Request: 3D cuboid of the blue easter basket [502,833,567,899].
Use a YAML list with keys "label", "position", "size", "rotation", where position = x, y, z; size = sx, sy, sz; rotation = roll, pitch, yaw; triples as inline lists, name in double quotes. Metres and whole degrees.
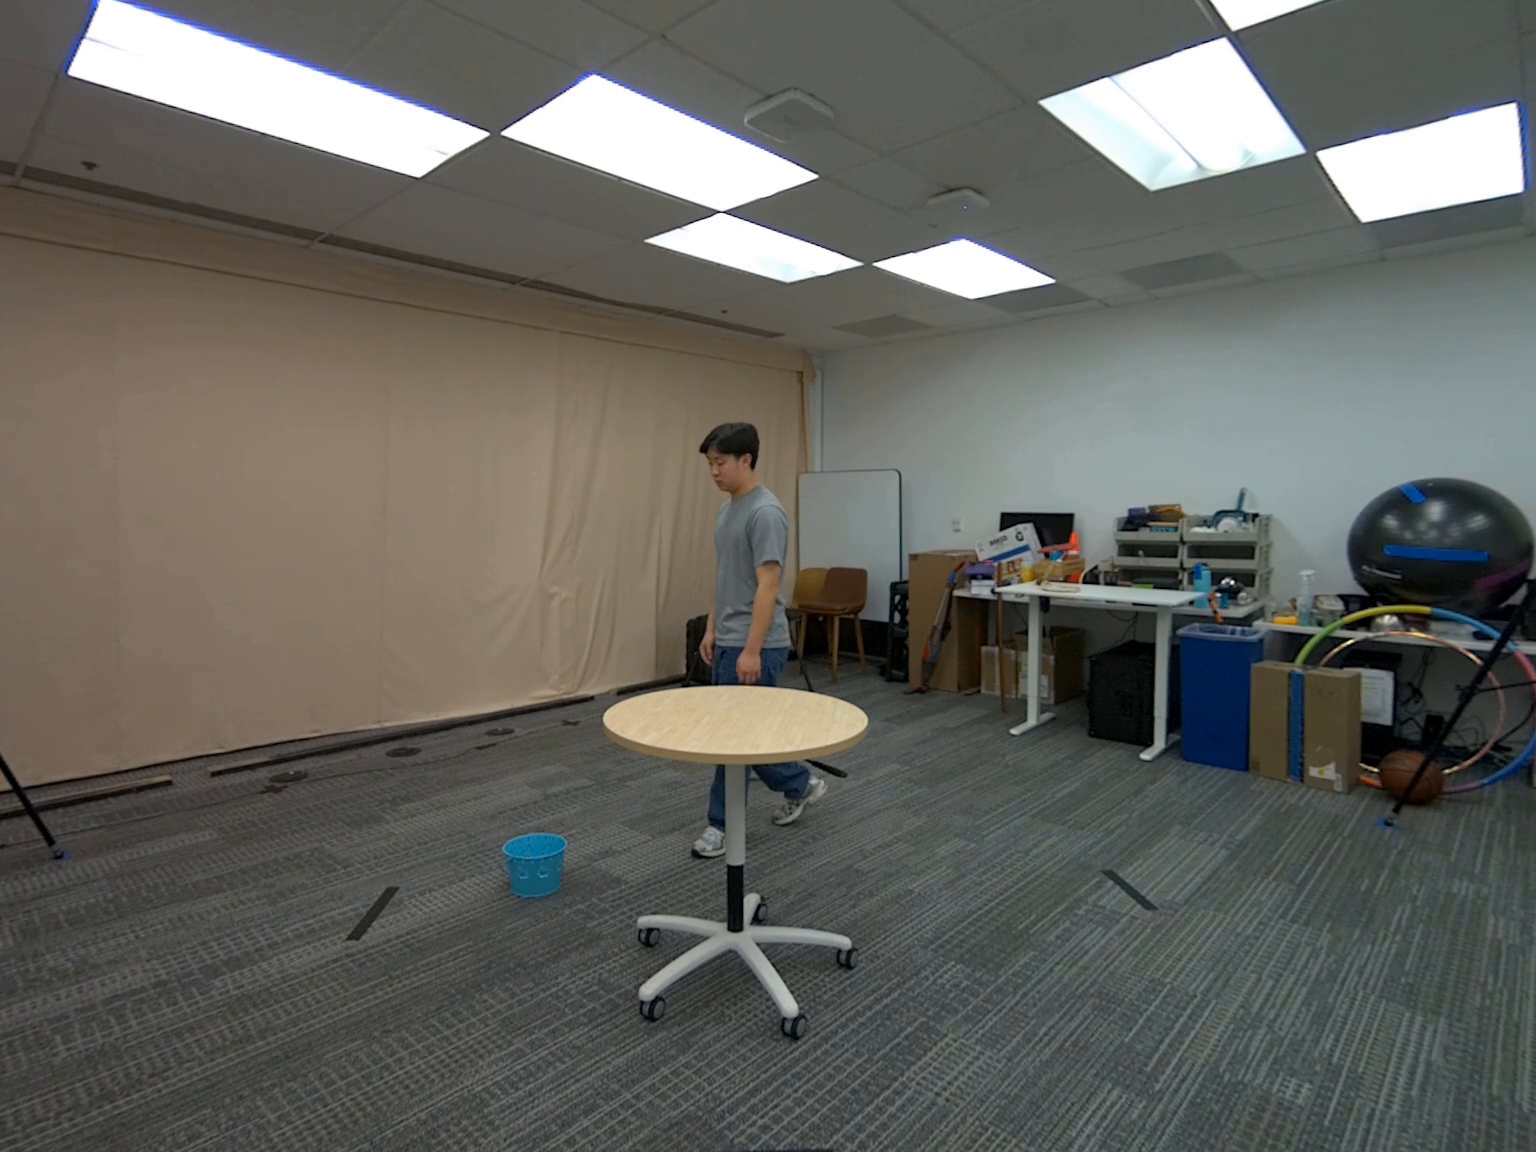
- label: "blue easter basket"
  position: [-0.856, 1.064, 3.103]
  size: [0.243, 0.155, 0.244]
  rotation: [0, 4, -2]
